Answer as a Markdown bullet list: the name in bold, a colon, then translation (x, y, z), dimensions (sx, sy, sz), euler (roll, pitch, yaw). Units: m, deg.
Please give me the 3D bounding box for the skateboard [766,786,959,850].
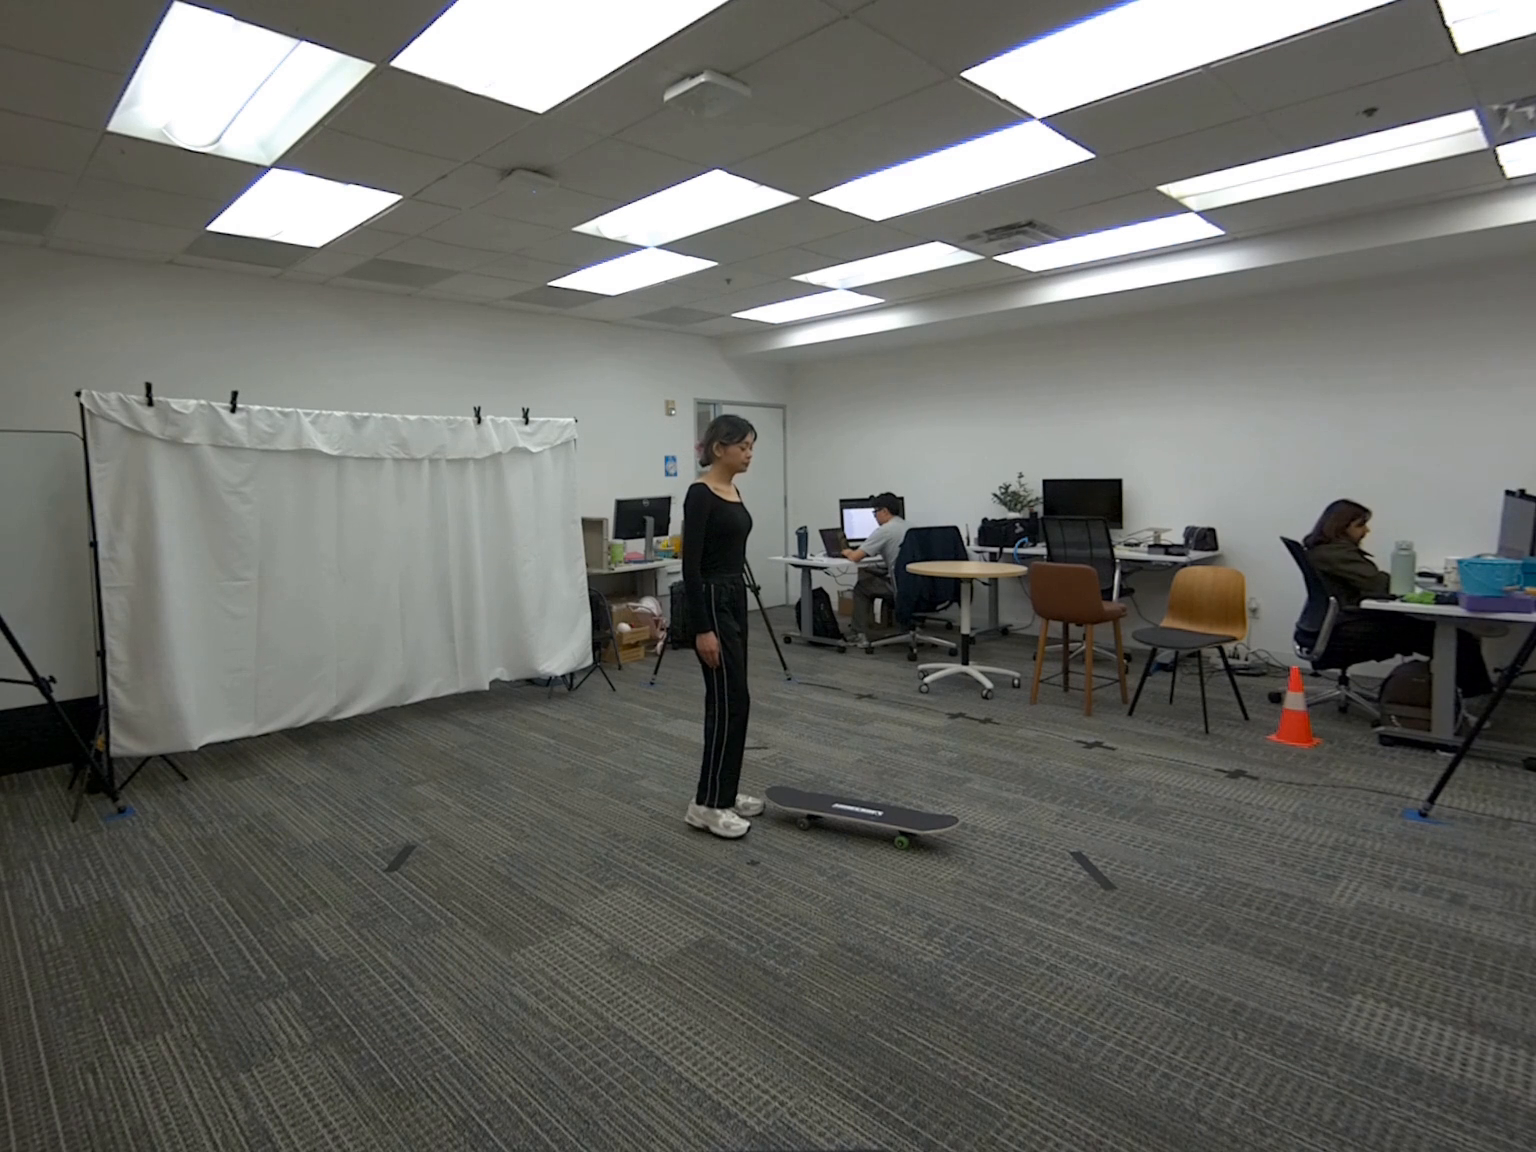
- **skateboard**: translation (0.358, 0.955, 3.361), dimensions (0.805, 0.110, 0.189), euler (2, 6, 28)
